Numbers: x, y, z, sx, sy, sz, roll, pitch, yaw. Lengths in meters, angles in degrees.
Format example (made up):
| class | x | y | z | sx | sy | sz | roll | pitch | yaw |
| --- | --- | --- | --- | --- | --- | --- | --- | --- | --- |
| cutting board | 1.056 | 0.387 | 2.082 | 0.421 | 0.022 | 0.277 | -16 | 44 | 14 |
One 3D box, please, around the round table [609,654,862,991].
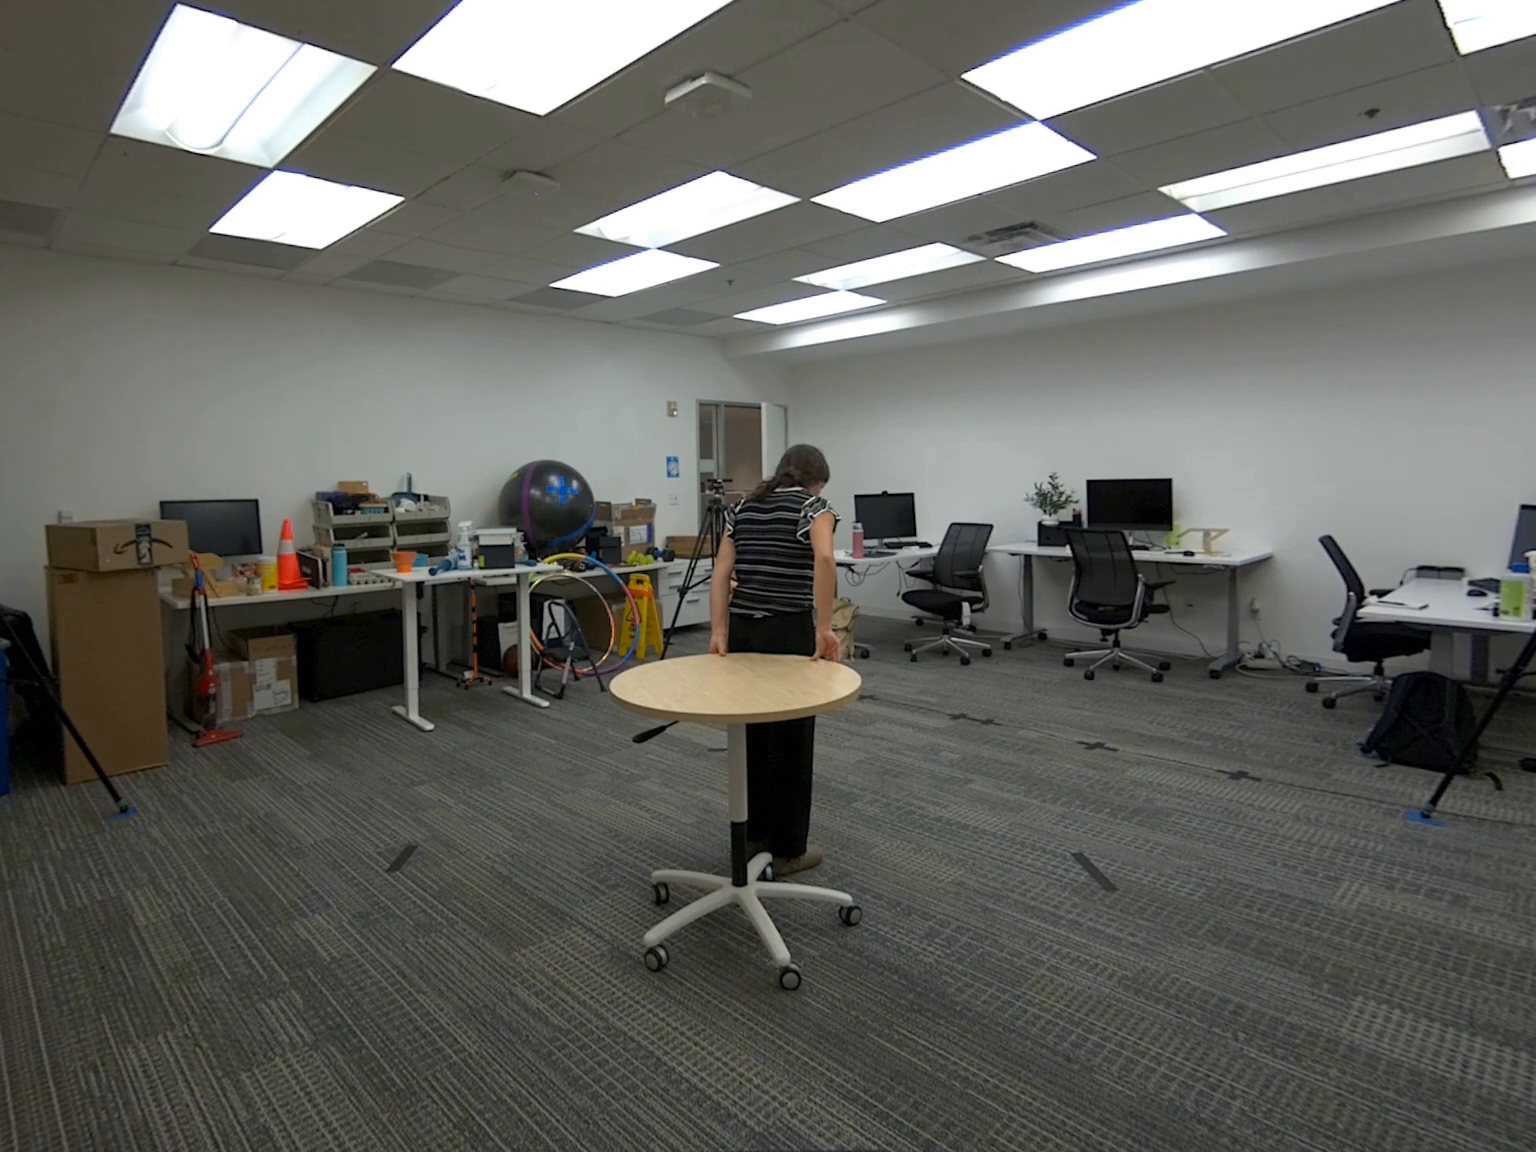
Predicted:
| class | x | y | z | sx | sy | sz | roll | pitch | yaw |
| --- | --- | --- | --- | --- | --- | --- | --- | --- | --- |
| round table | -0.083 | 0.707 | 2.646 | 0.784 | 0.783 | 0.790 | -2 | 6 | -2 |
